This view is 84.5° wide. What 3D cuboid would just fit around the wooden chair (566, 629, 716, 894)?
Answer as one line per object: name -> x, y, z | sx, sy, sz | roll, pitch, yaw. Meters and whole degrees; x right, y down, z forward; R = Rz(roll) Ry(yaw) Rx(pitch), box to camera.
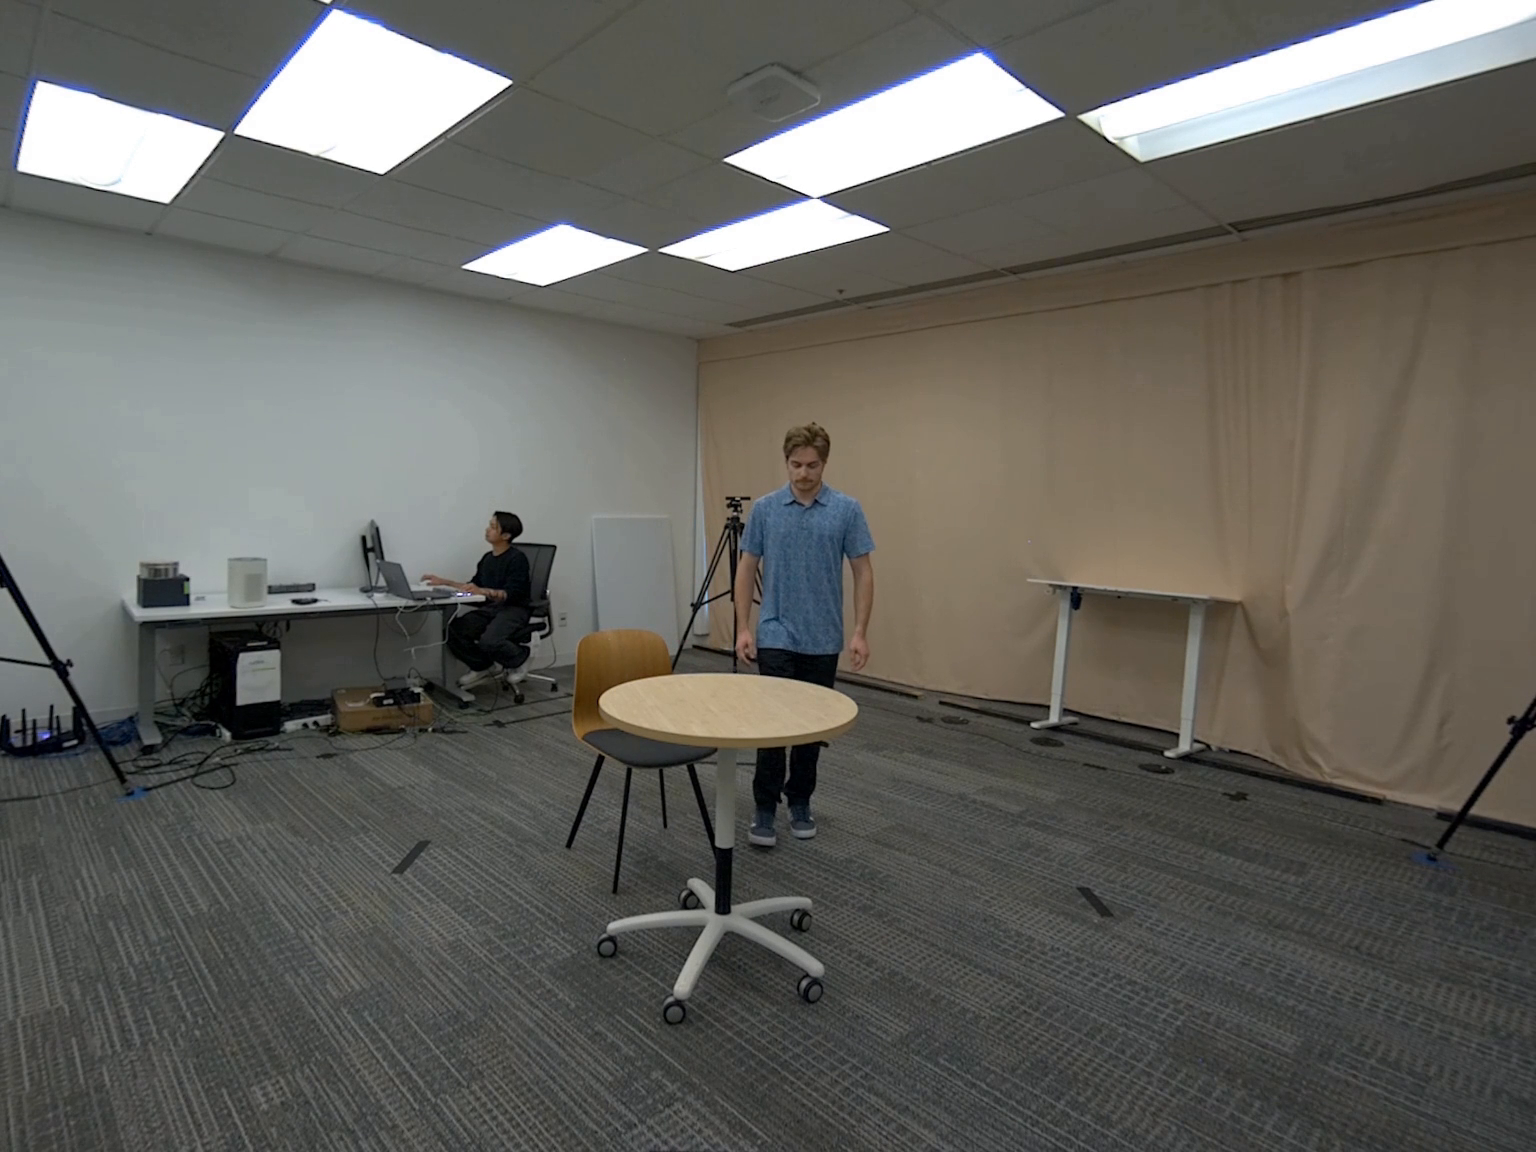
wooden chair -> -0.475, 0.662, 3.213 | 0.468, 0.878, 0.534 | 0, -1, -34
